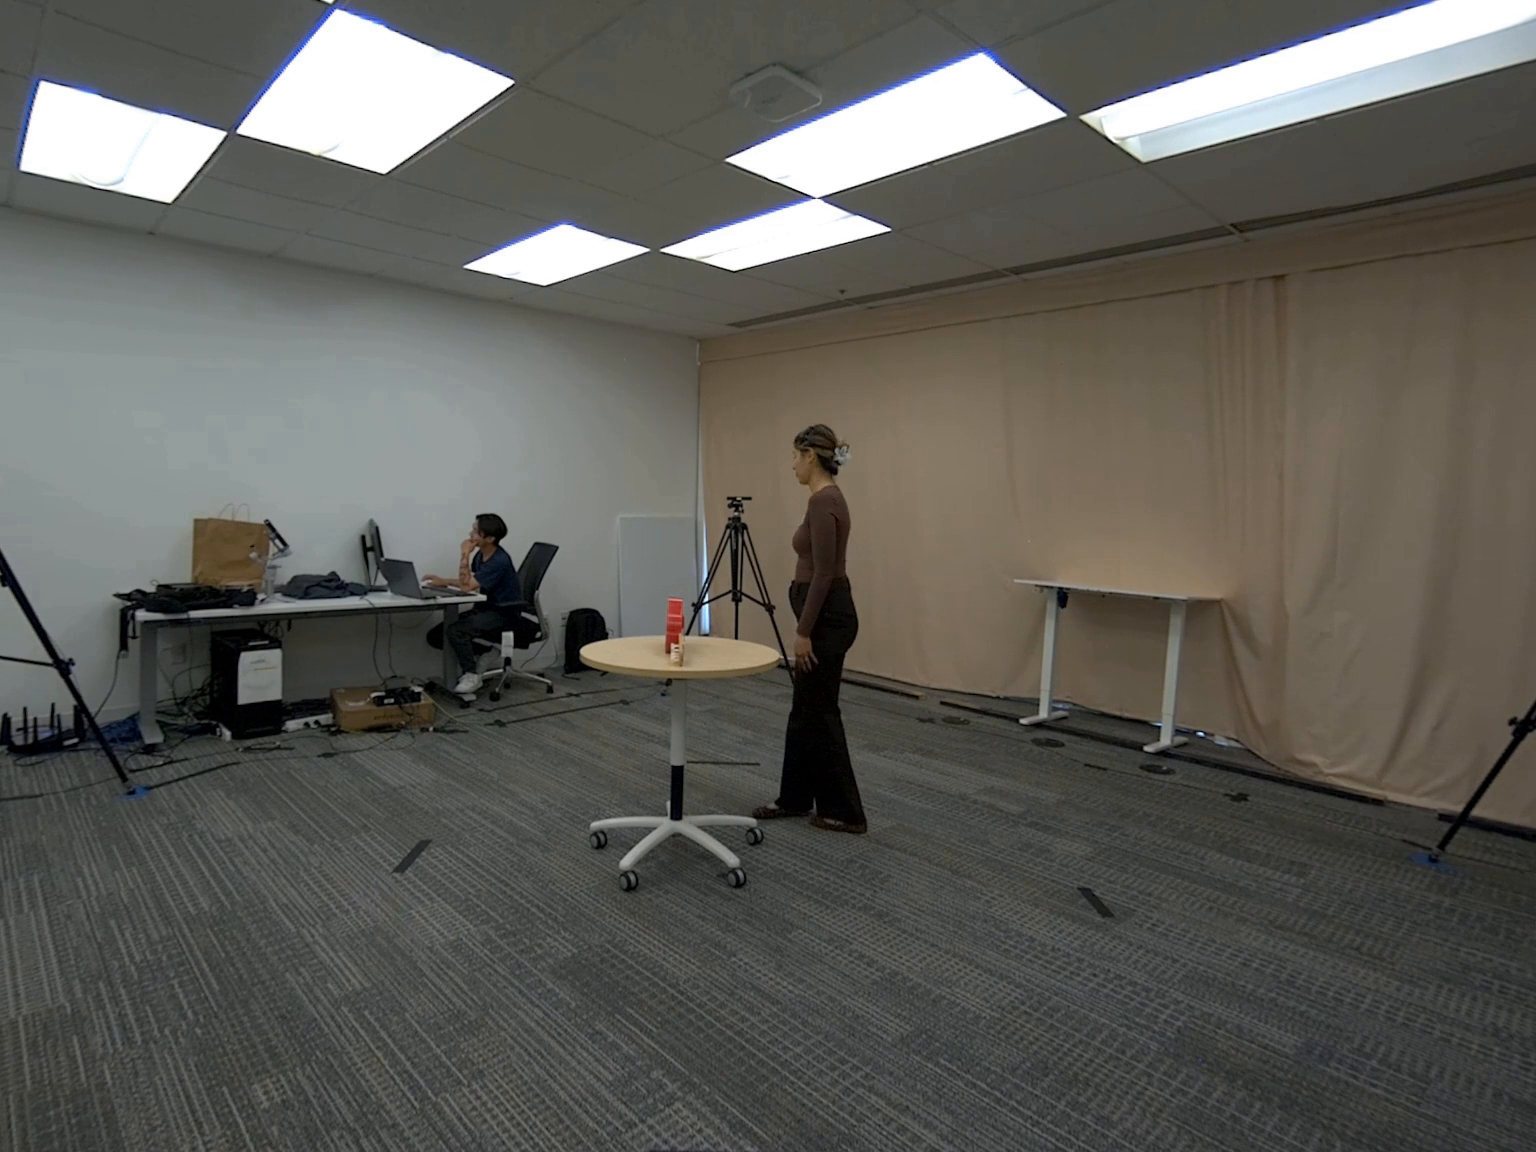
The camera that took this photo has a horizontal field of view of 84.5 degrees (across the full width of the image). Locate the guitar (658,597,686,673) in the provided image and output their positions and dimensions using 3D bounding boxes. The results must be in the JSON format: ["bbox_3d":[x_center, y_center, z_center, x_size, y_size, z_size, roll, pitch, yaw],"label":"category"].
[{"bbox_3d":[-0.365,0.208,3.172,0.070,0.192,0.502,5,4,-8],"label":"guitar"}]
